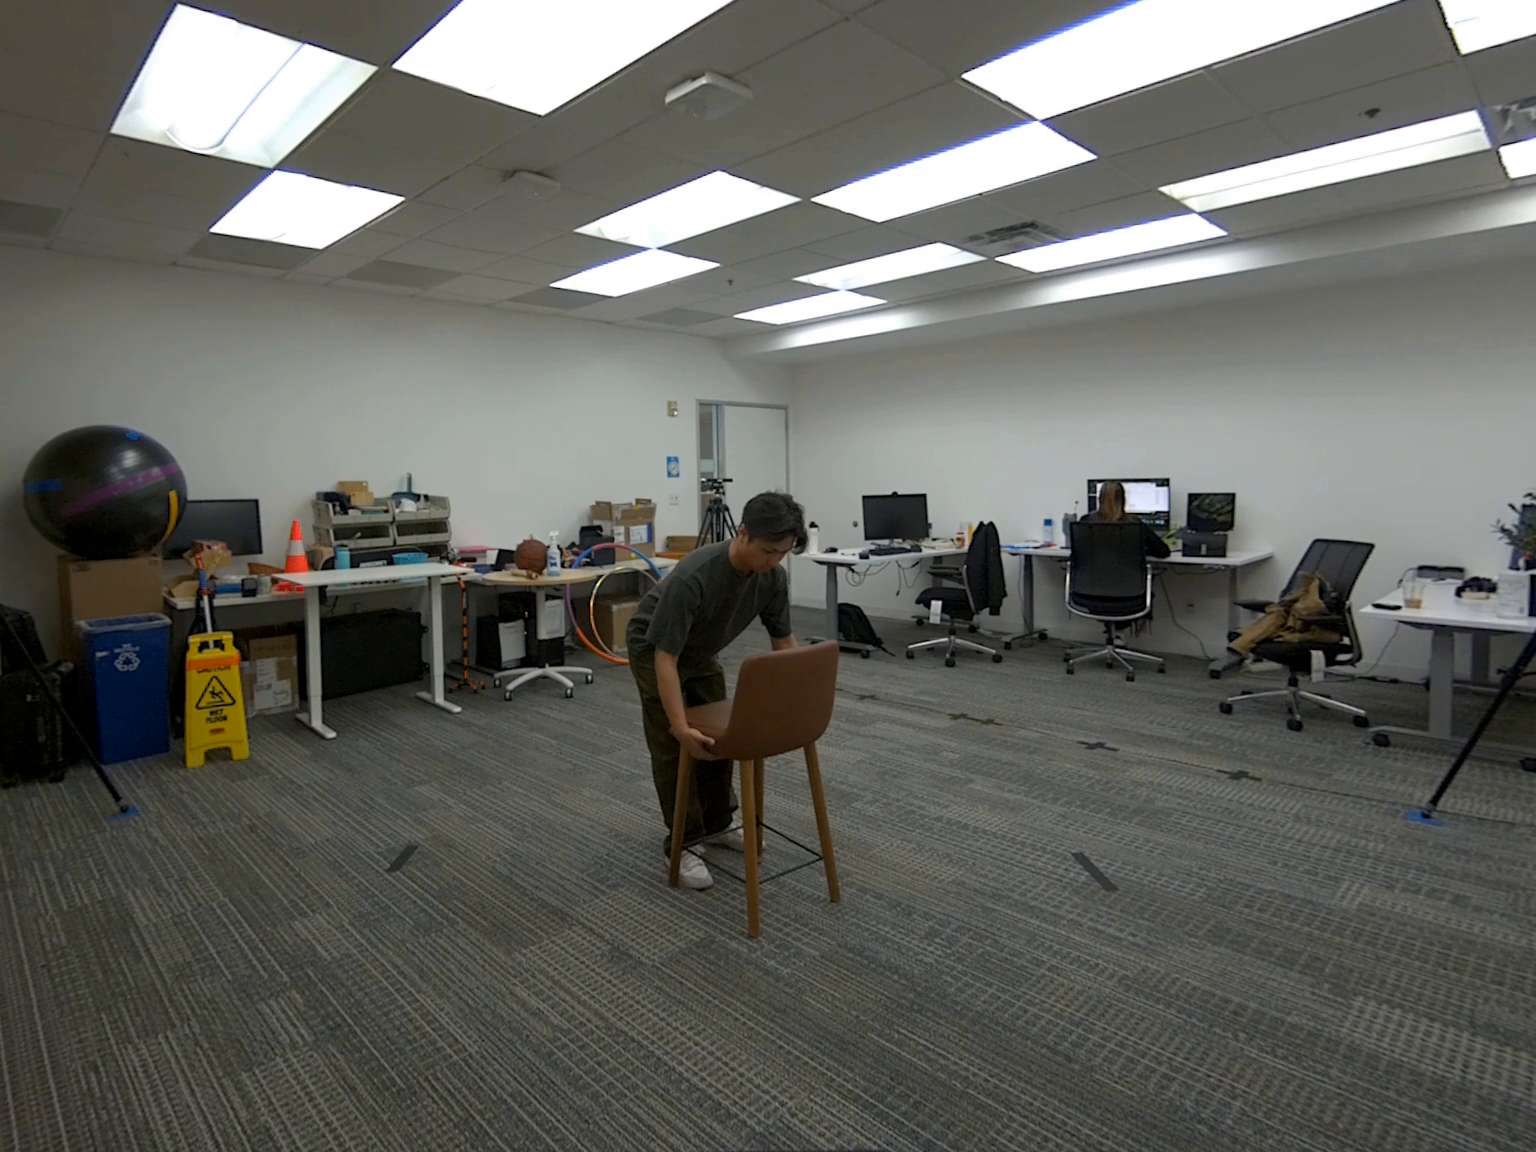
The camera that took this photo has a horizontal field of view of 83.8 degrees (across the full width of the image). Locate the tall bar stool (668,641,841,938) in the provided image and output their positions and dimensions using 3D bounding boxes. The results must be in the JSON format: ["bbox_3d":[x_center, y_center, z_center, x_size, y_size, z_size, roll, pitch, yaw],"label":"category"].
[{"bbox_3d":[-0.042,0.635,2.858,0.445,0.885,0.482,-4,8,-38],"label":"tall bar stool"}]
